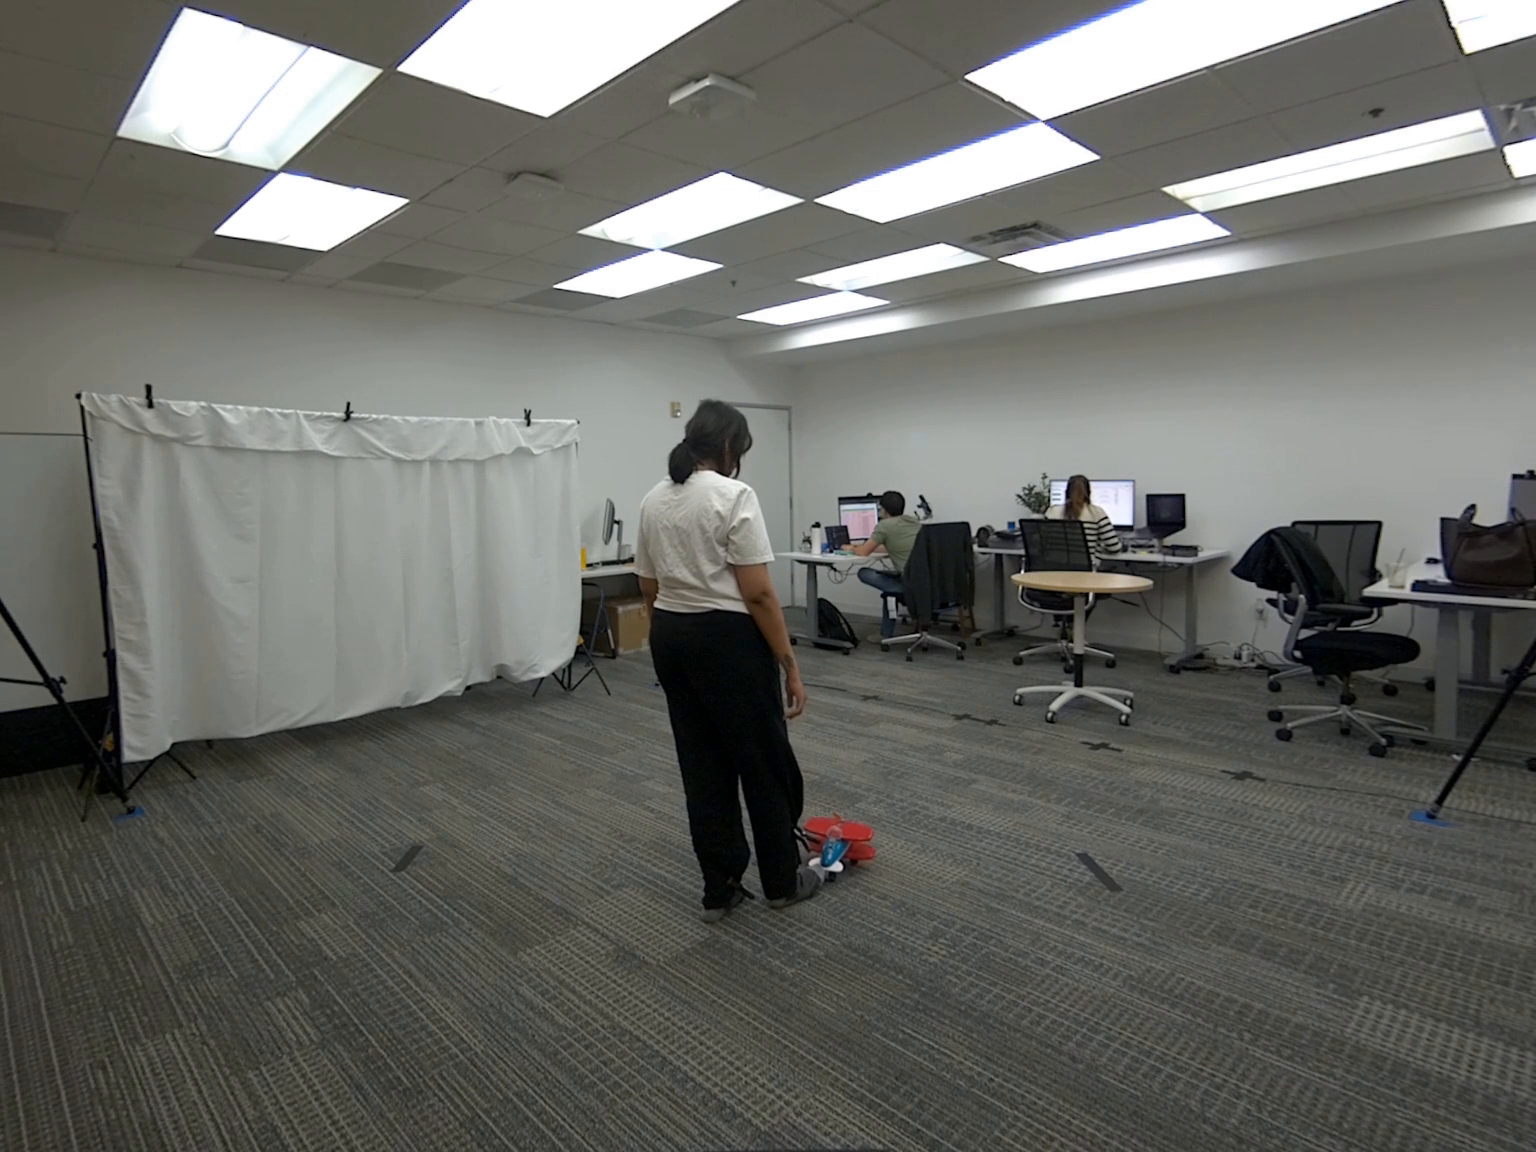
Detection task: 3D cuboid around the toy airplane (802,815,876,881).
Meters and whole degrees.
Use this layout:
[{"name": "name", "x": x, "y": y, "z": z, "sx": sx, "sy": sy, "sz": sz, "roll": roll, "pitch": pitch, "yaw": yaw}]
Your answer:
[{"name": "toy airplane", "x": 0.265, "y": 0.972, "z": 3.041, "sx": 0.251, "sy": 0.156, "sz": 0.260, "roll": -1, "pitch": 4, "yaw": -2}]
